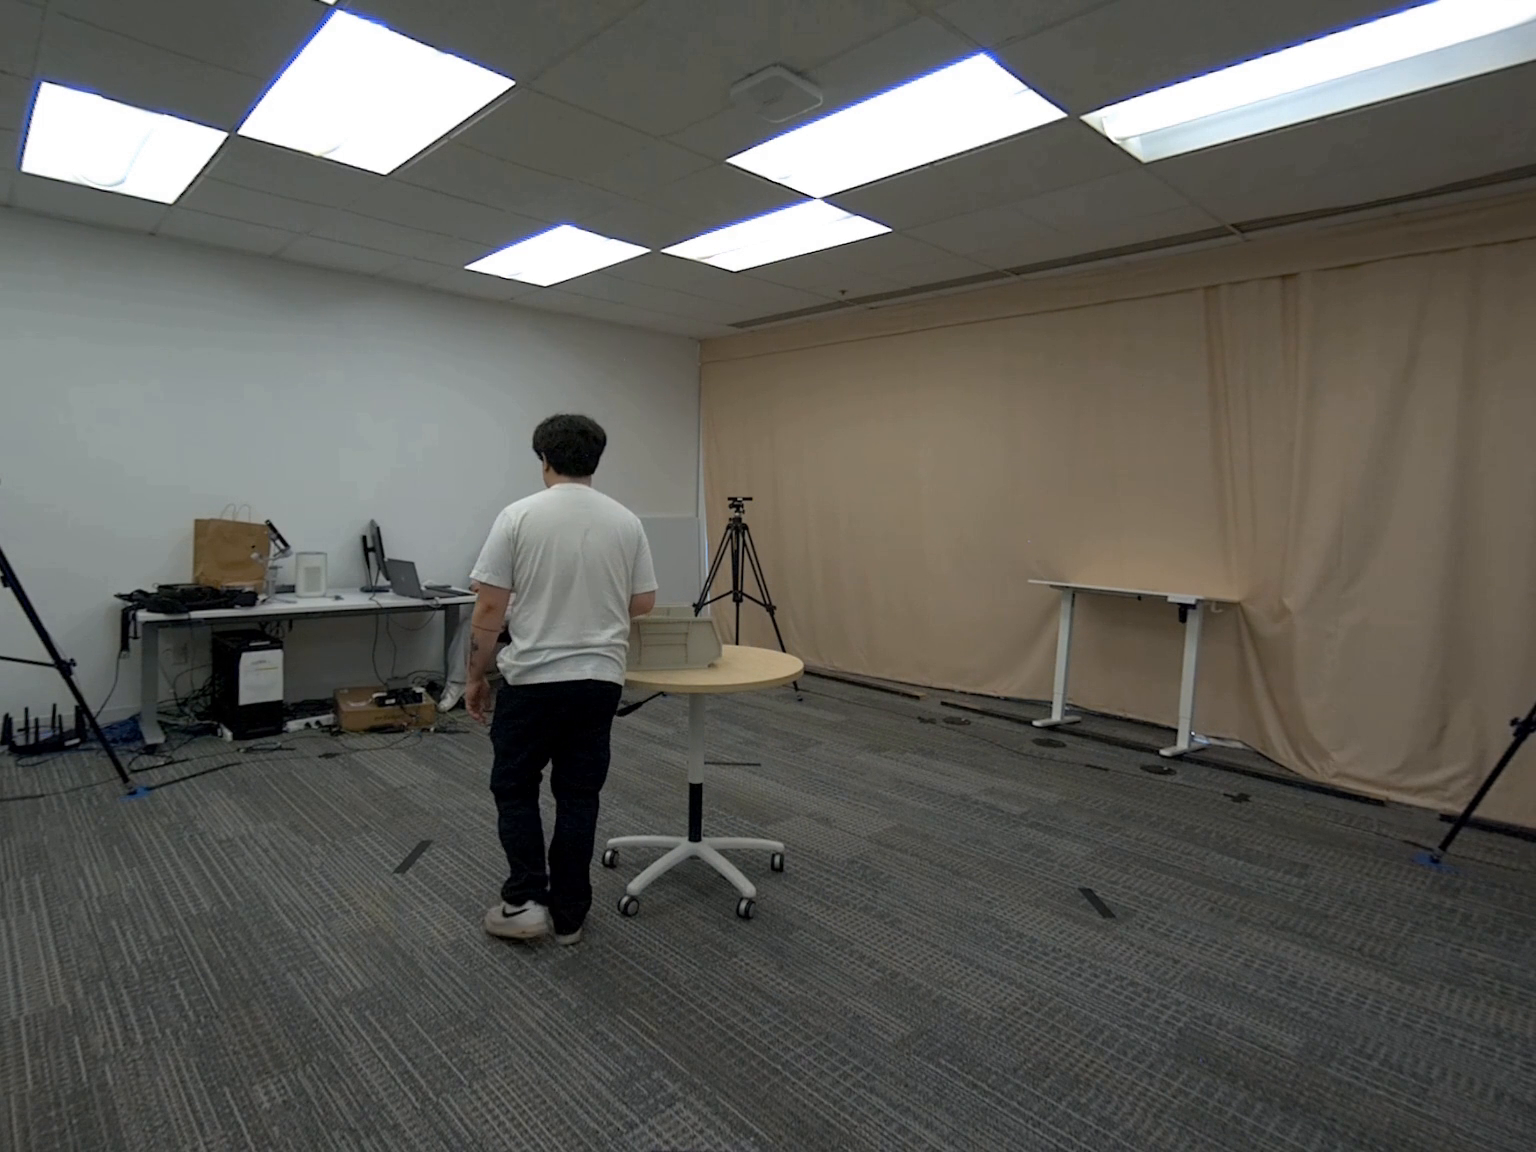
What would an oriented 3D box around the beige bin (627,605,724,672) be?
[{"bbox_3d":[-0.405,0.220,3.092,0.373,0.188,0.428,-1,5,-15],"label":"beige bin"}]
